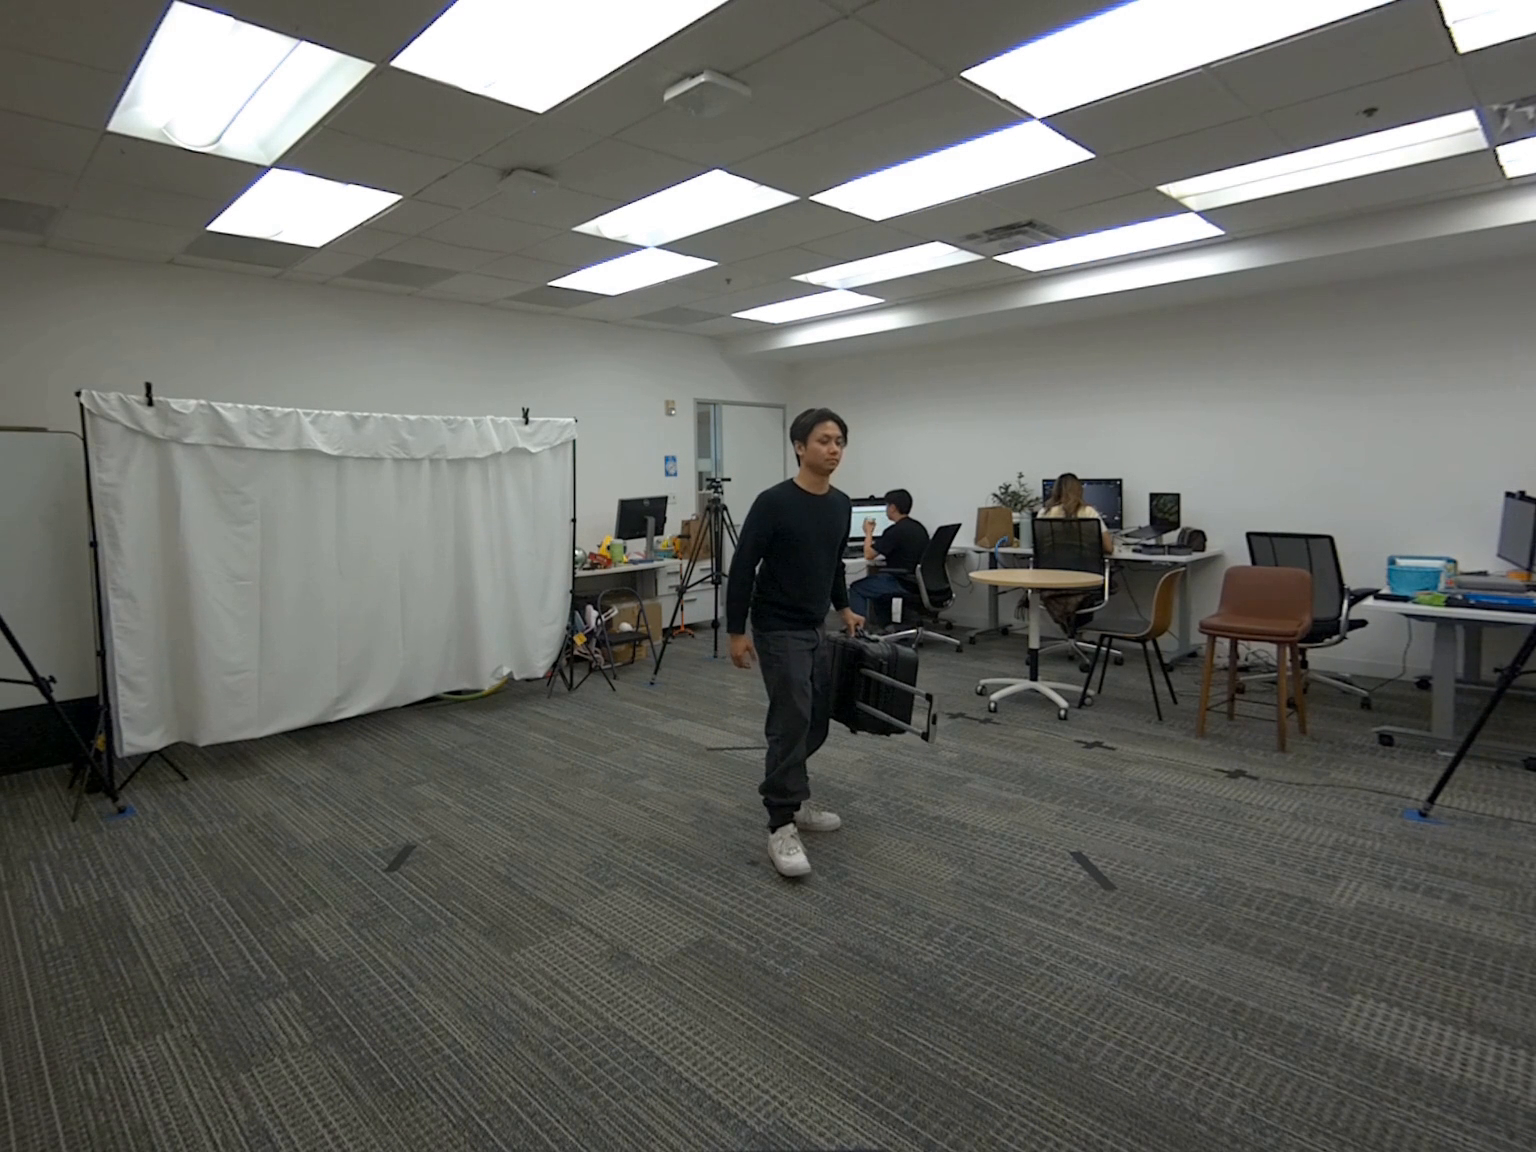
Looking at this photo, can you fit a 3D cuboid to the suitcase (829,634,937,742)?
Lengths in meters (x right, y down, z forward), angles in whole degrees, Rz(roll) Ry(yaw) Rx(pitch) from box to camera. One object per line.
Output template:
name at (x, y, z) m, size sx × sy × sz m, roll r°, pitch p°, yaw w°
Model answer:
suitcase at (0.456, 0.434, 3.292) m, size 0.251 × 0.384 × 0.998 m, roll 7°, pitch 0°, yaw -22°
